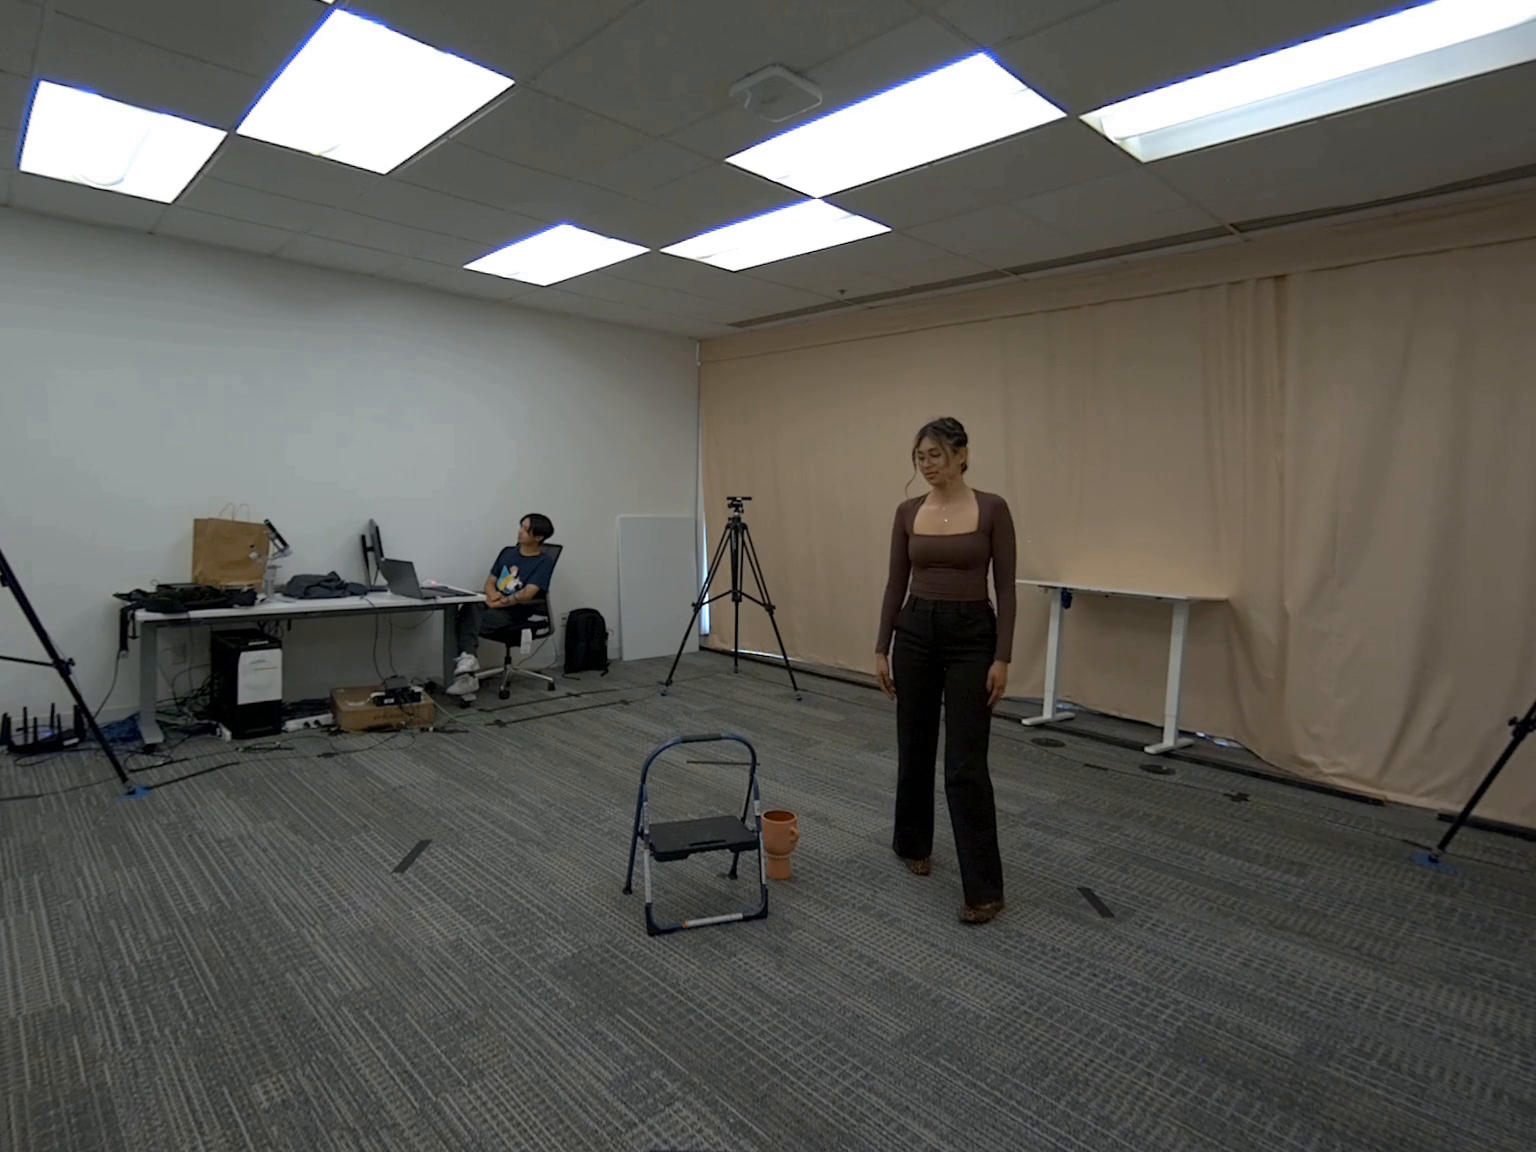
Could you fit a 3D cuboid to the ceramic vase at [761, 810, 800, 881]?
[{"bbox_3d":[0.028,0.992,3.124,0.133,0.219,0.160,-1,3,-11],"label":"ceramic vase"}]
